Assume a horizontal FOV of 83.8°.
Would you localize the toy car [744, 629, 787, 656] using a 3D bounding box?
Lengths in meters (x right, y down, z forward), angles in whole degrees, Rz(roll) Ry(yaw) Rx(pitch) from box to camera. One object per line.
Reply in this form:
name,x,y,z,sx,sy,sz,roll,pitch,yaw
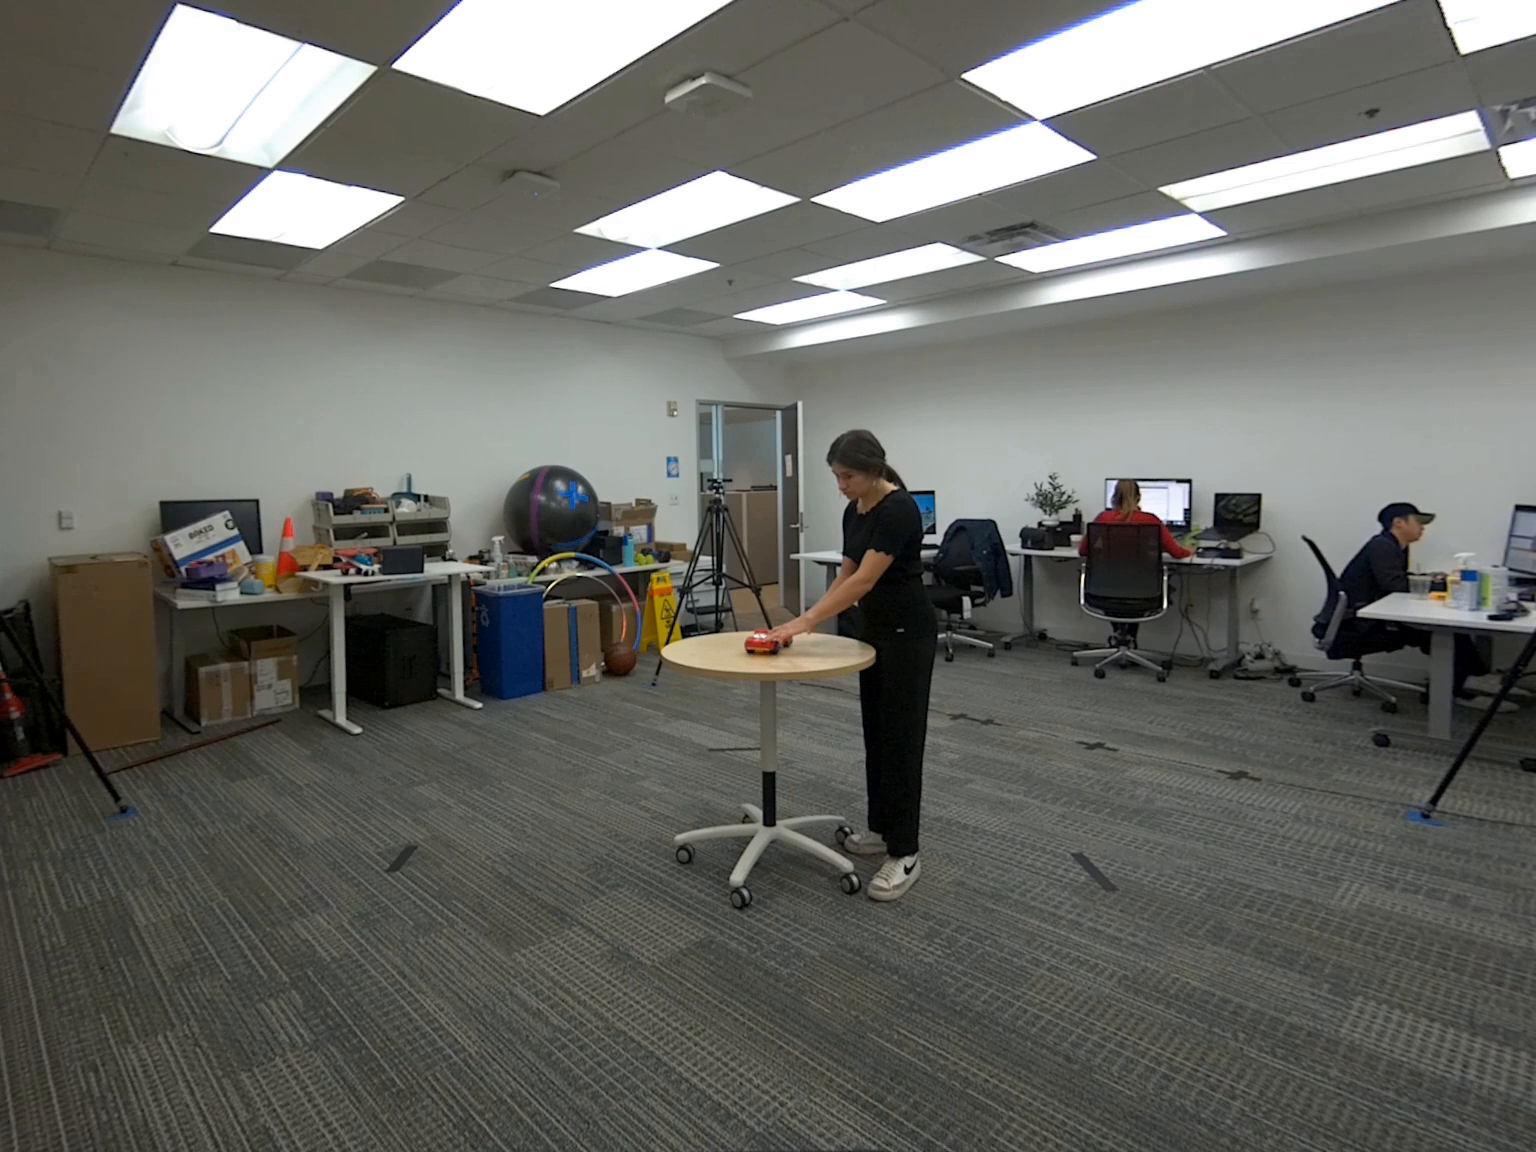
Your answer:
toy car,-0.003,0.235,3.047,0.133,0.083,0.248,1,-5,20
